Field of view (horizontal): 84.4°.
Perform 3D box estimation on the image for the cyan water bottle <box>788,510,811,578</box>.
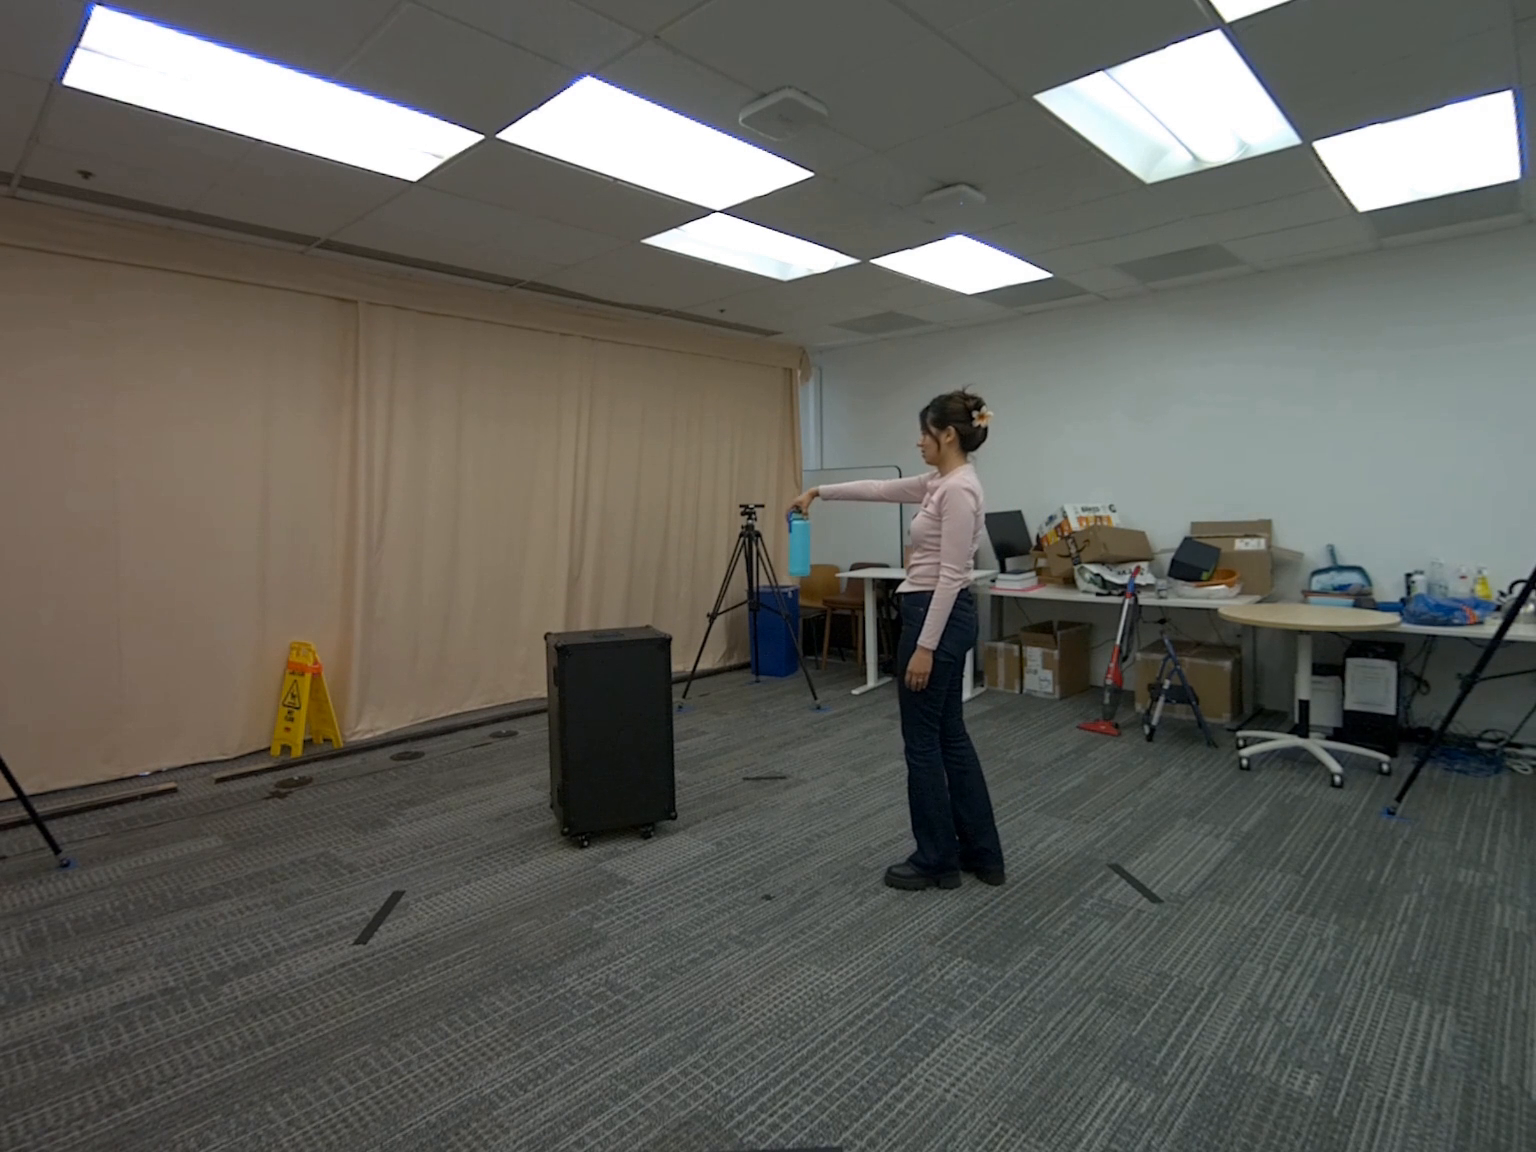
[{"bbox_3d":[0.135,-0.147,3.463,0.092,0.282,0.093,-2,4,-2],"label":"cyan water bottle"}]
